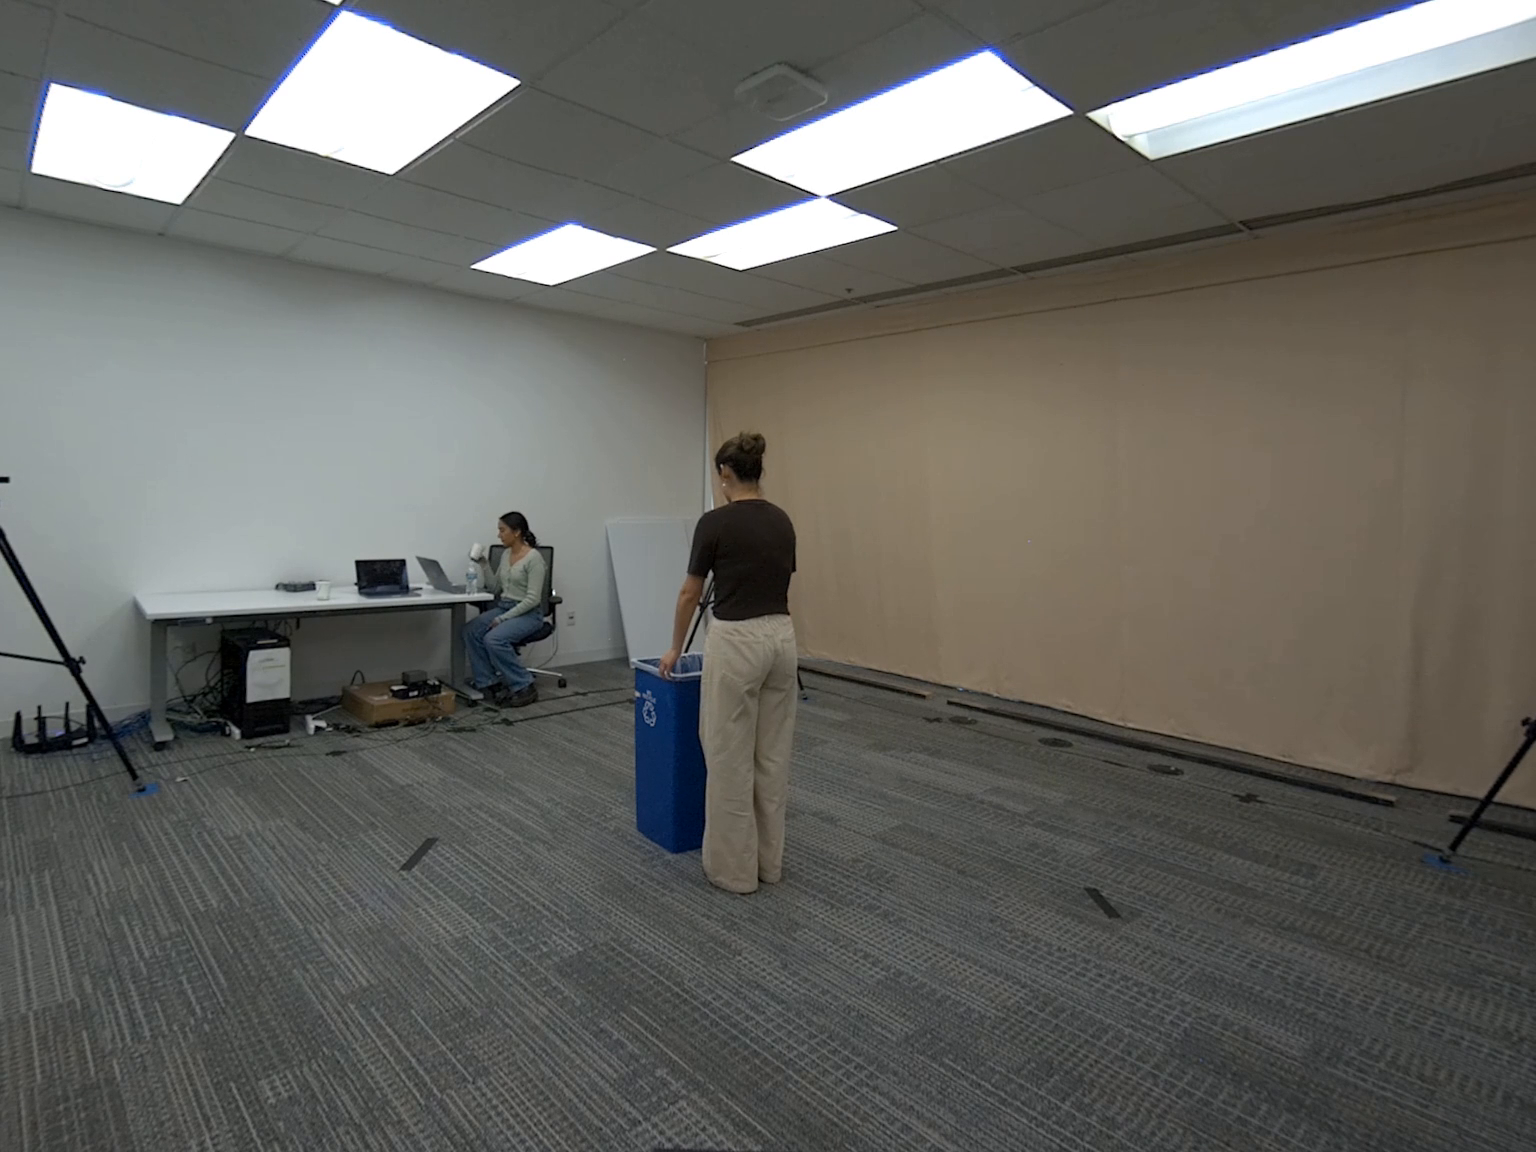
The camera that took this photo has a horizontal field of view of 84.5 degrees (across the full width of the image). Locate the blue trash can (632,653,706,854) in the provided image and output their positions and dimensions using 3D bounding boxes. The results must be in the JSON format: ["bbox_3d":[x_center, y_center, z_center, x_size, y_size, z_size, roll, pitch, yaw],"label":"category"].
[{"bbox_3d":[-0.335,0.710,3.454,0.370,0.712,0.383,-1,4,-37],"label":"blue trash can"}]
